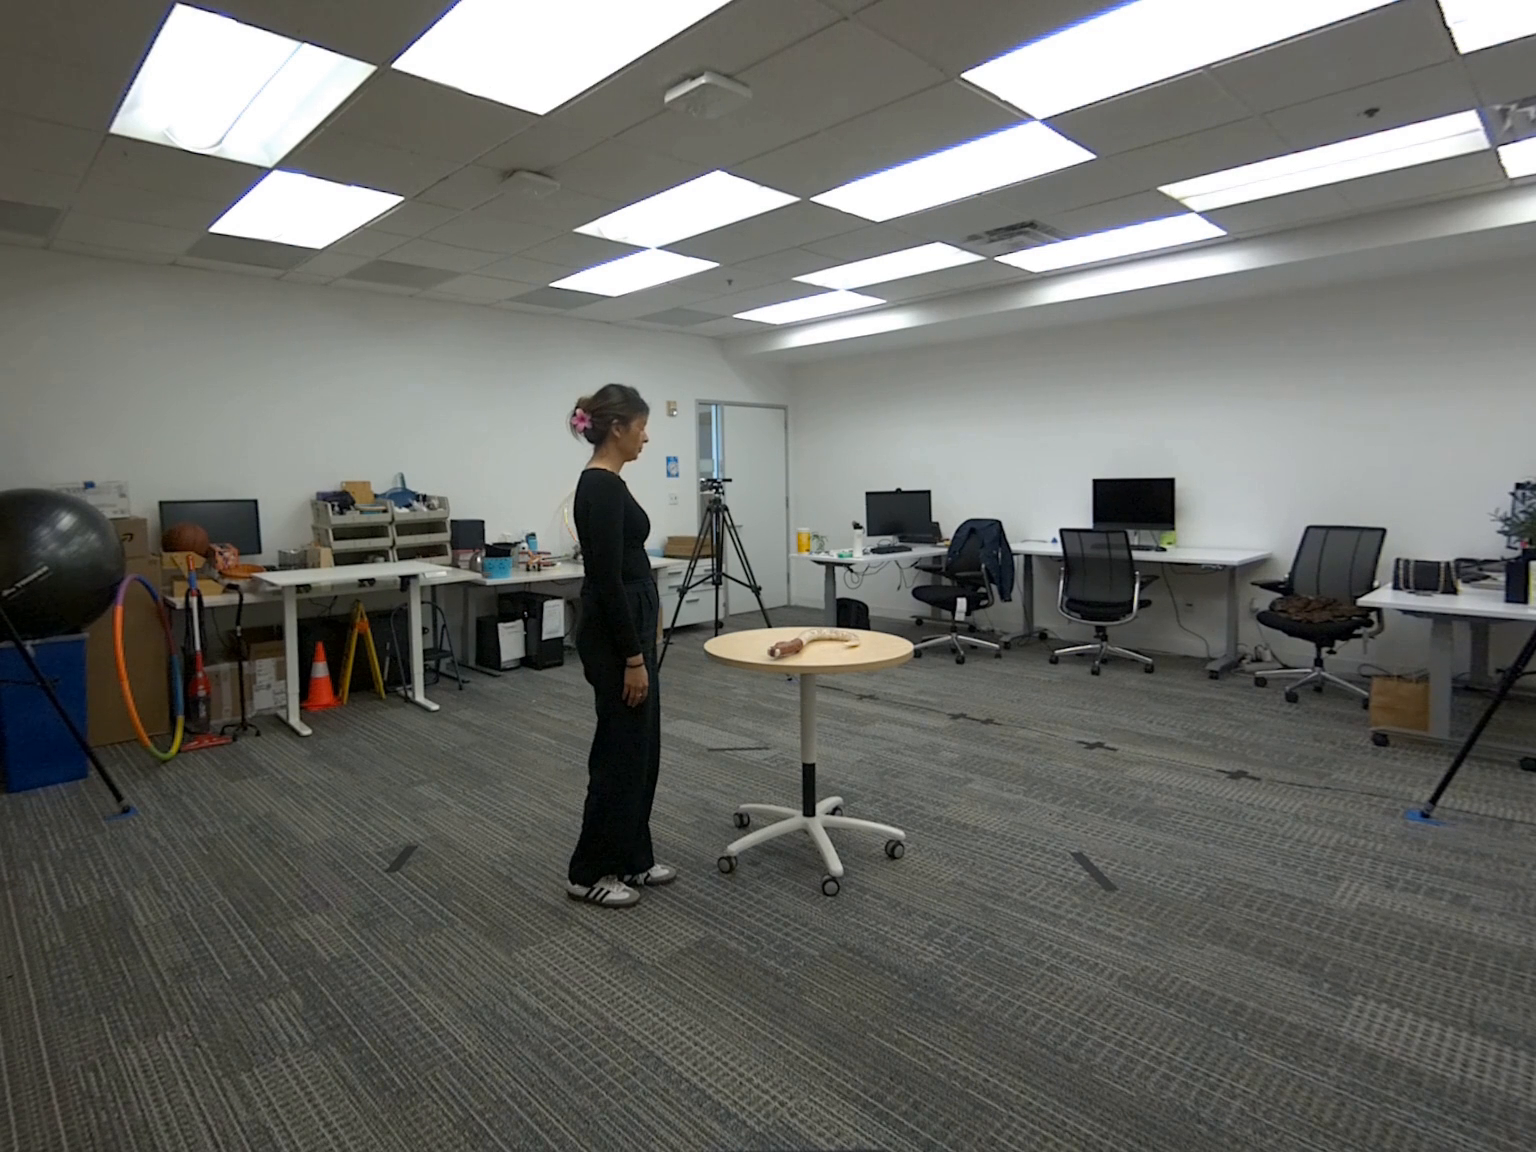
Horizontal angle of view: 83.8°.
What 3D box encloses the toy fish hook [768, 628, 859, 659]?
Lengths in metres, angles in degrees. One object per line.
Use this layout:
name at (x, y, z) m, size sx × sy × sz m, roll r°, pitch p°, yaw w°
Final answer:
toy fish hook at (0.195, 0.246, 3.038) m, size 0.230 × 0.048 × 0.496 m, roll 0°, pitch 5°, yaw 27°
